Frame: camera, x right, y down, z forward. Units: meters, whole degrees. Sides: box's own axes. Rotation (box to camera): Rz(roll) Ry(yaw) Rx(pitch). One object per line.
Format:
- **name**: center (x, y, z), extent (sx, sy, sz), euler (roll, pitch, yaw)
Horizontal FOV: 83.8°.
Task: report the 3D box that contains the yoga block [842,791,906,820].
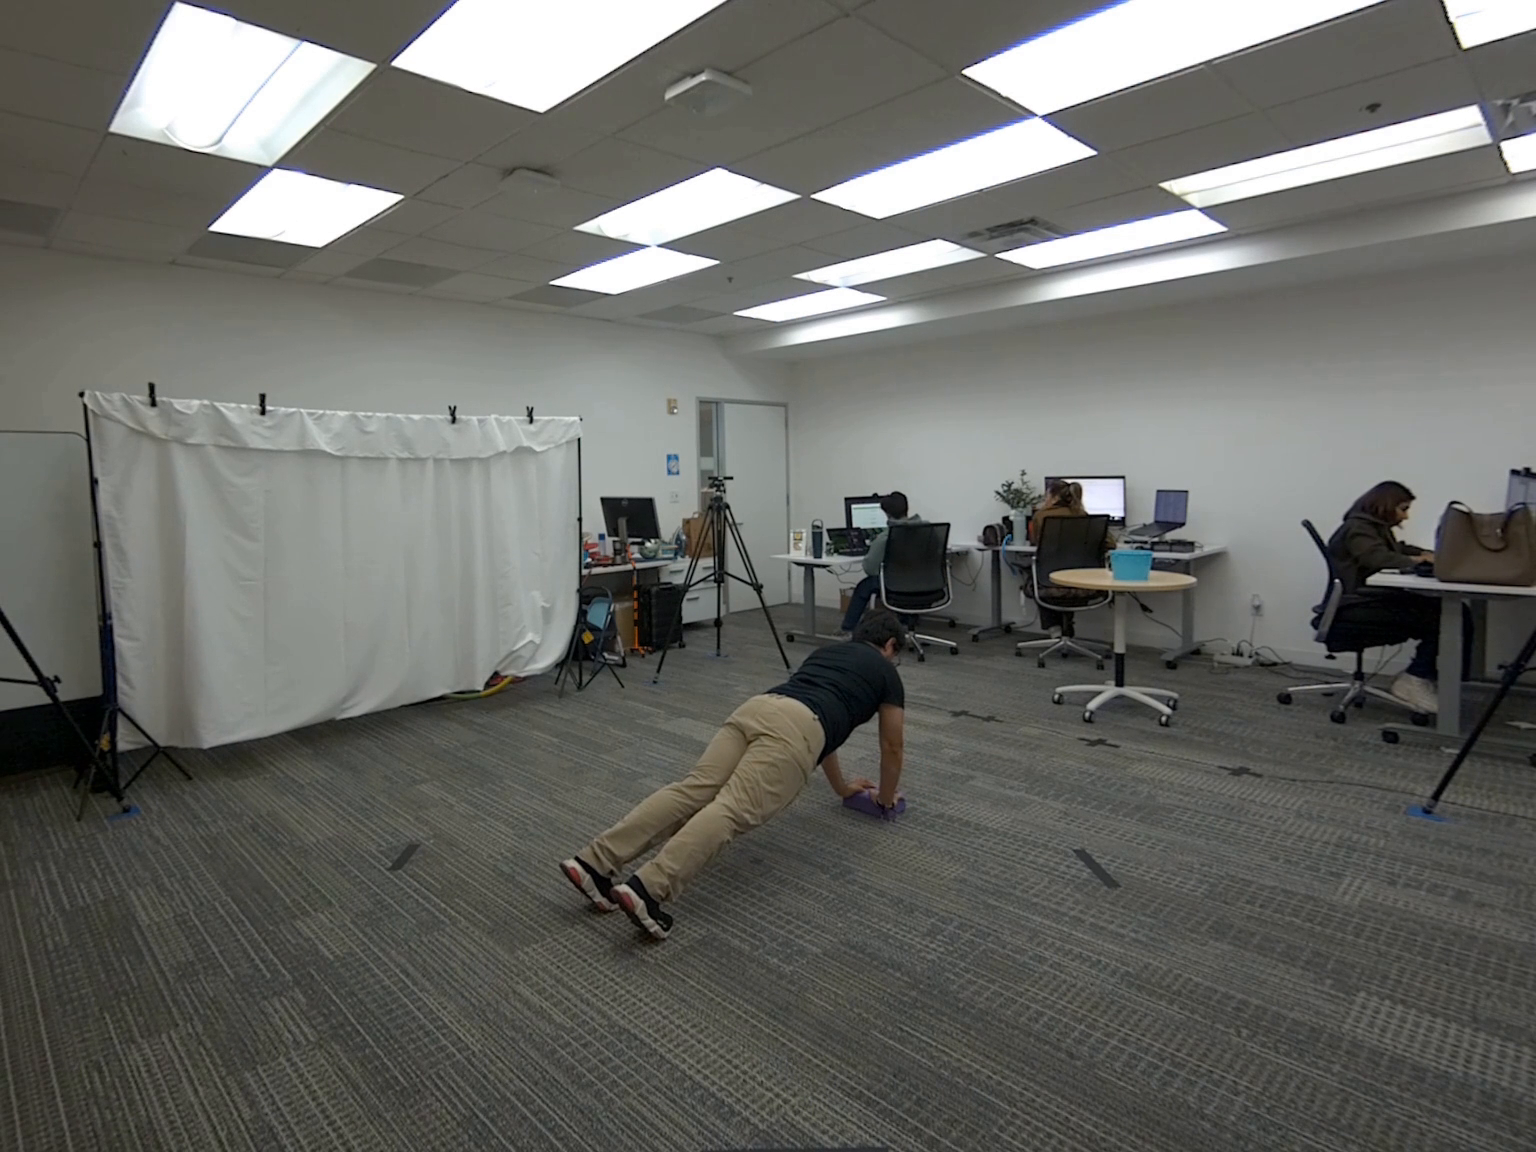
- **yoga block**: center (0.449, 0.937, 3.584), extent (0.236, 0.076, 0.145), euler (6, 8, 42)
